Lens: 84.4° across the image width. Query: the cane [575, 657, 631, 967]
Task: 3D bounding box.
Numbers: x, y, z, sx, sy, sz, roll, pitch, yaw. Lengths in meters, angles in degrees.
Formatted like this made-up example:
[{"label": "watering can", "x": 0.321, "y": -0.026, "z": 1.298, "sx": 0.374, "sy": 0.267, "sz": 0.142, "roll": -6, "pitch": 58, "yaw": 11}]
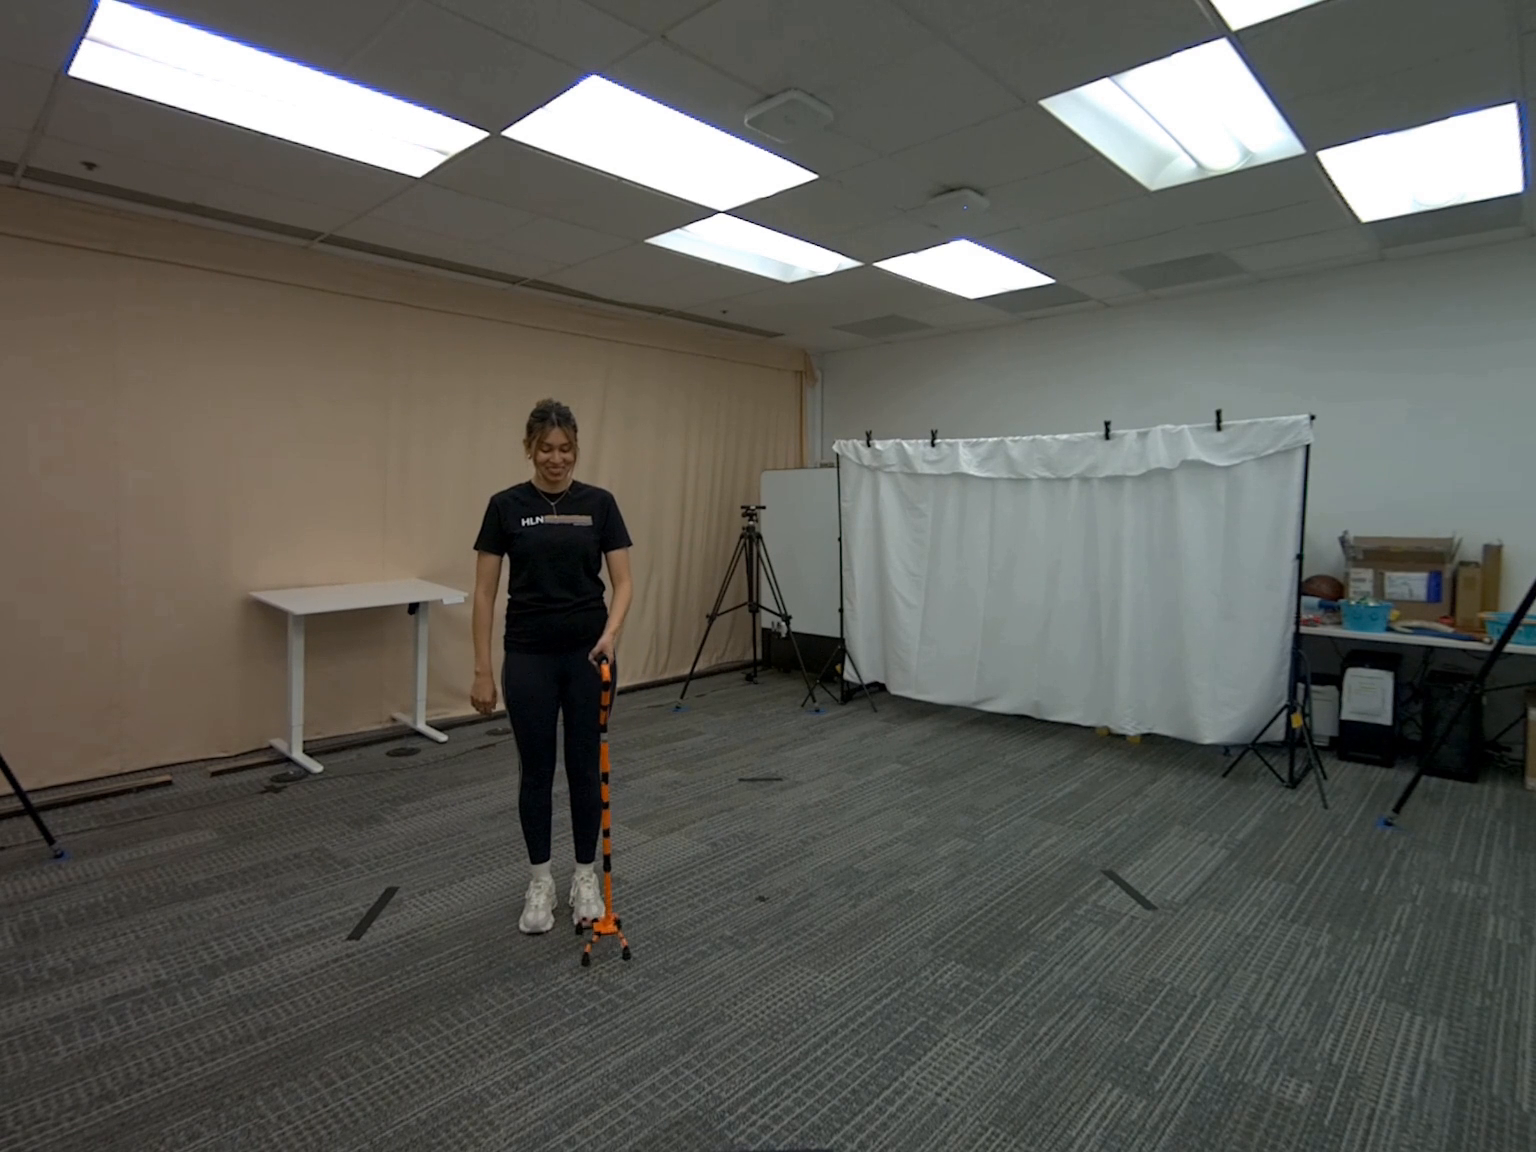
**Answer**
[{"label": "cane", "x": -0.511, "y": 0.697, "z": 2.564, "sx": 0.149, "sy": 0.905, "sz": 0.211, "roll": -1, "pitch": 5, "yaw": -18}]
